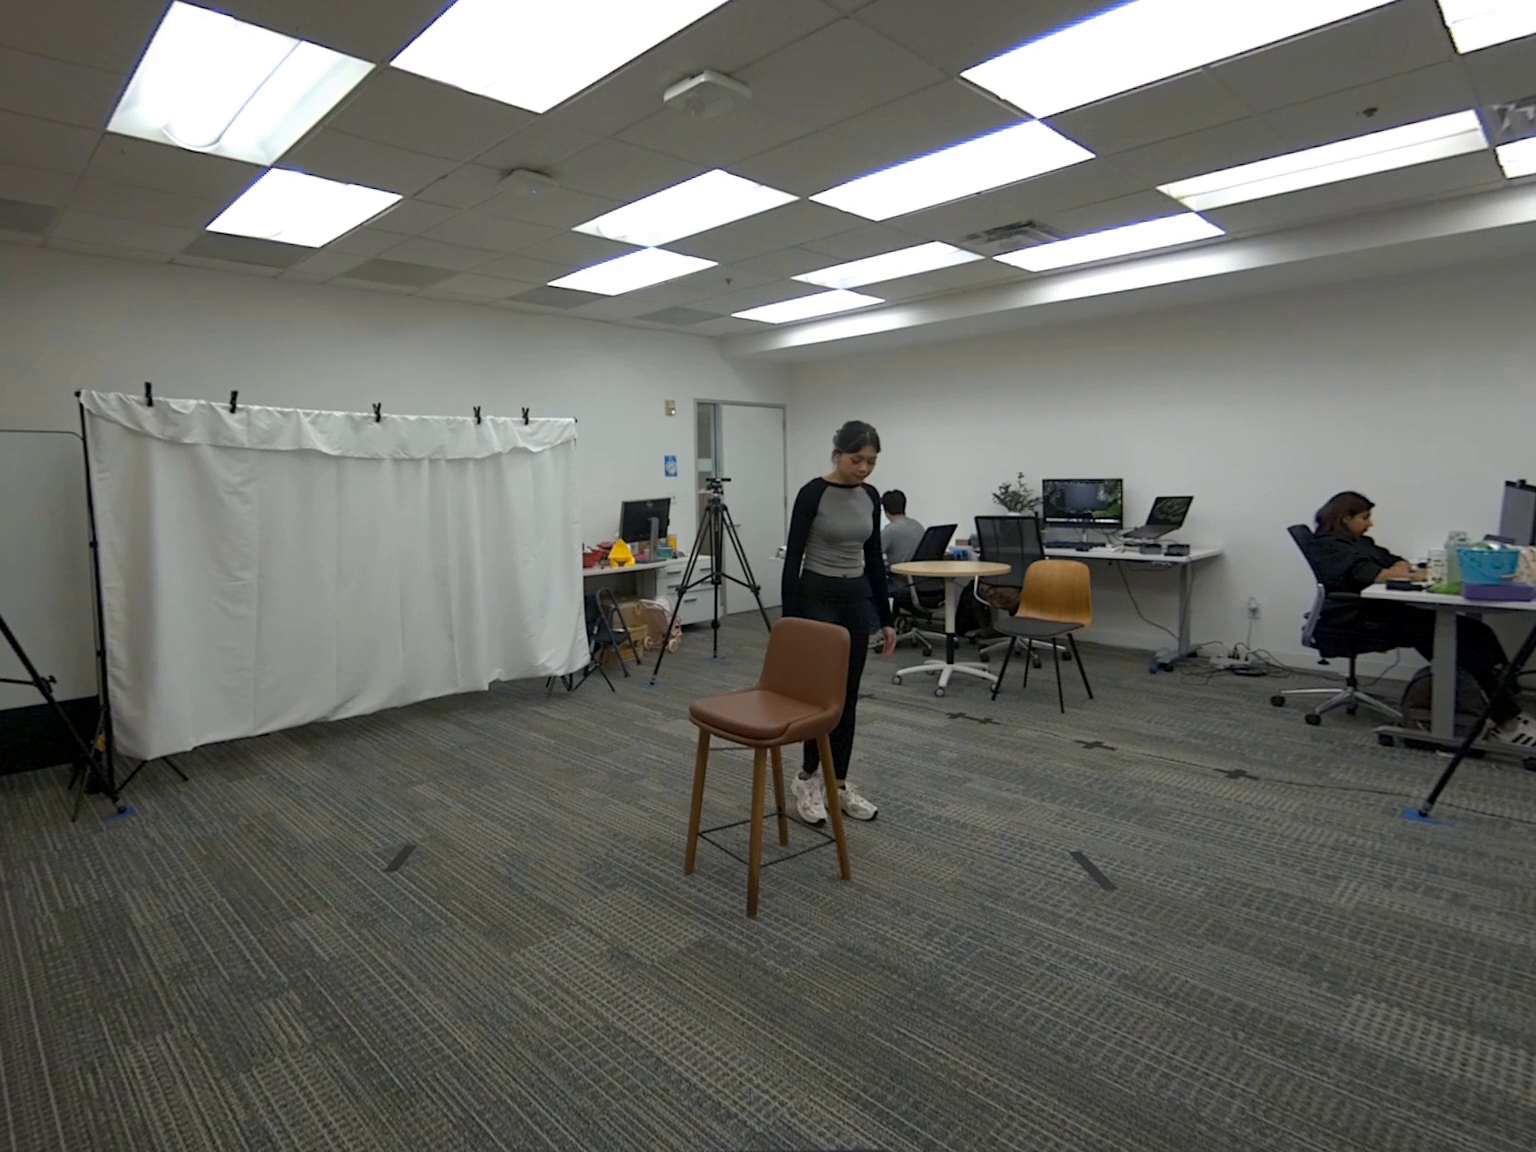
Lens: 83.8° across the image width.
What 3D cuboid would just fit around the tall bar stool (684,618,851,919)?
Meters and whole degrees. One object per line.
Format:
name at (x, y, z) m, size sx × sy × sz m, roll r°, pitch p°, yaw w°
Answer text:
tall bar stool at (0.001, 0.617, 2.974) m, size 0.455 × 0.888 × 0.470 m, roll -1°, pitch 3°, yaw -36°
